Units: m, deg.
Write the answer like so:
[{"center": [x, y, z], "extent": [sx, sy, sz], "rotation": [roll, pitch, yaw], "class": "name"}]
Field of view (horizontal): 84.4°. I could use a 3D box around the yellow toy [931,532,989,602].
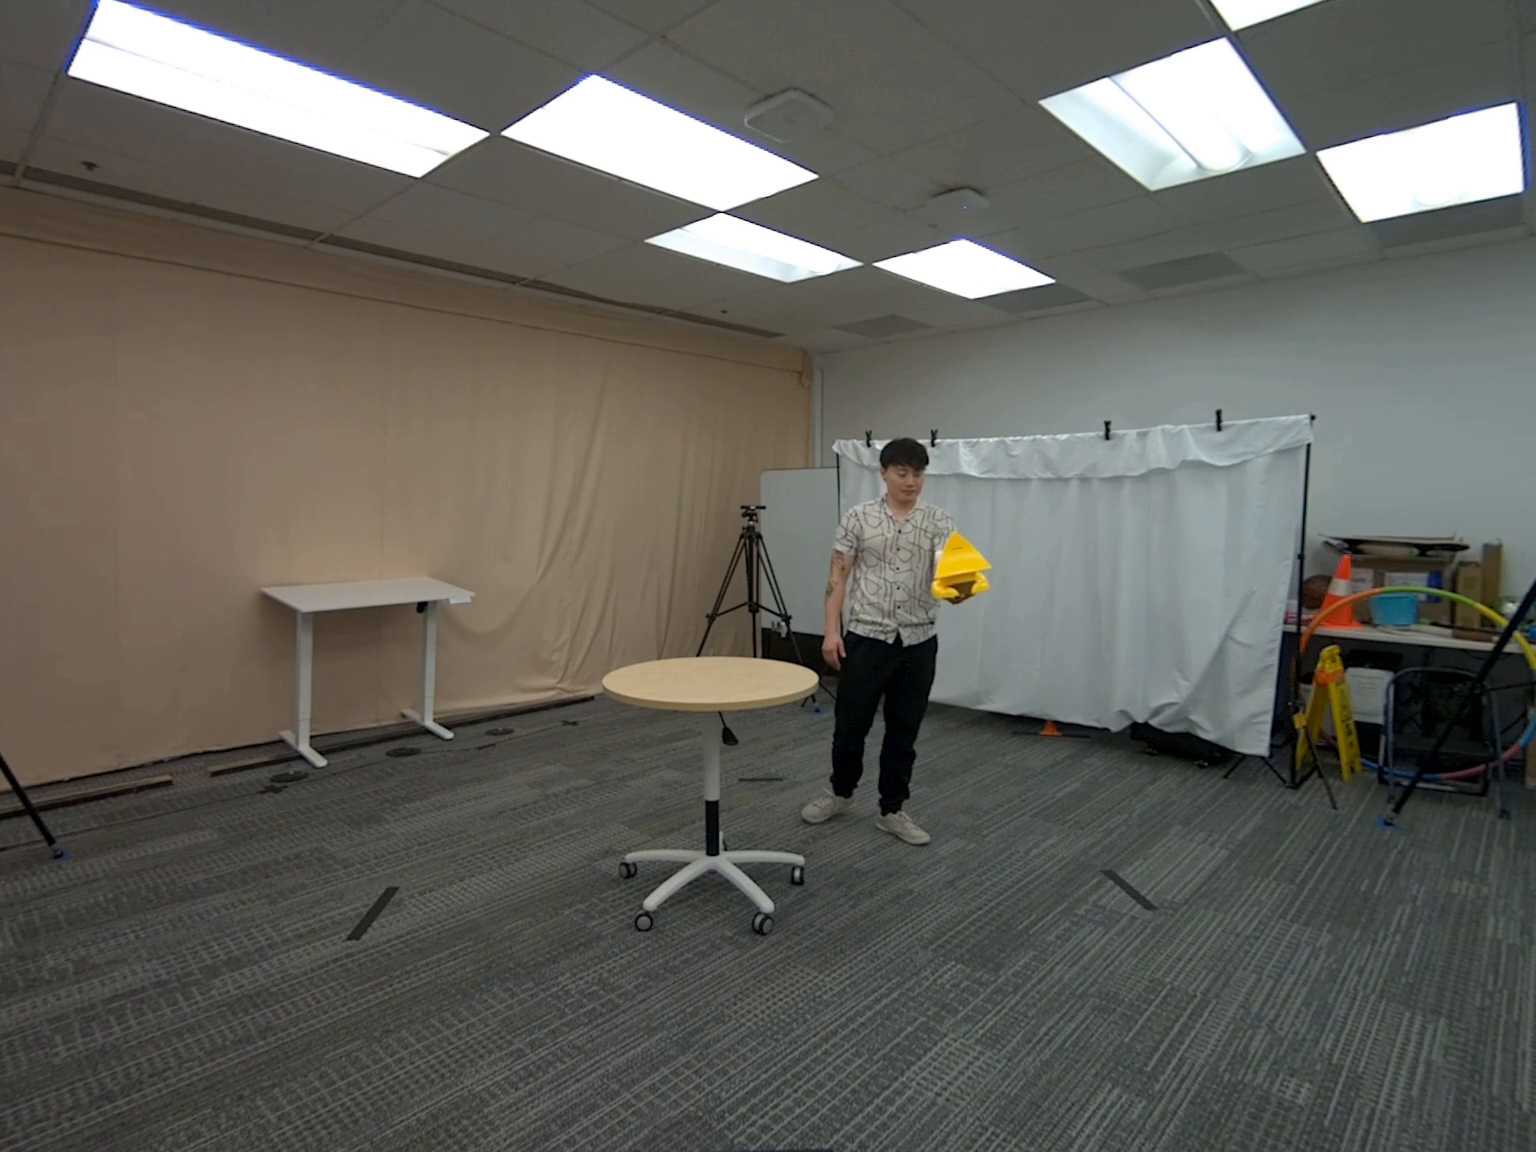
[{"center": [0.683, -0.052, 3.075], "extent": [0.205, 0.230, 0.193], "rotation": [-10, 4, 1], "class": "yellow toy"}]
